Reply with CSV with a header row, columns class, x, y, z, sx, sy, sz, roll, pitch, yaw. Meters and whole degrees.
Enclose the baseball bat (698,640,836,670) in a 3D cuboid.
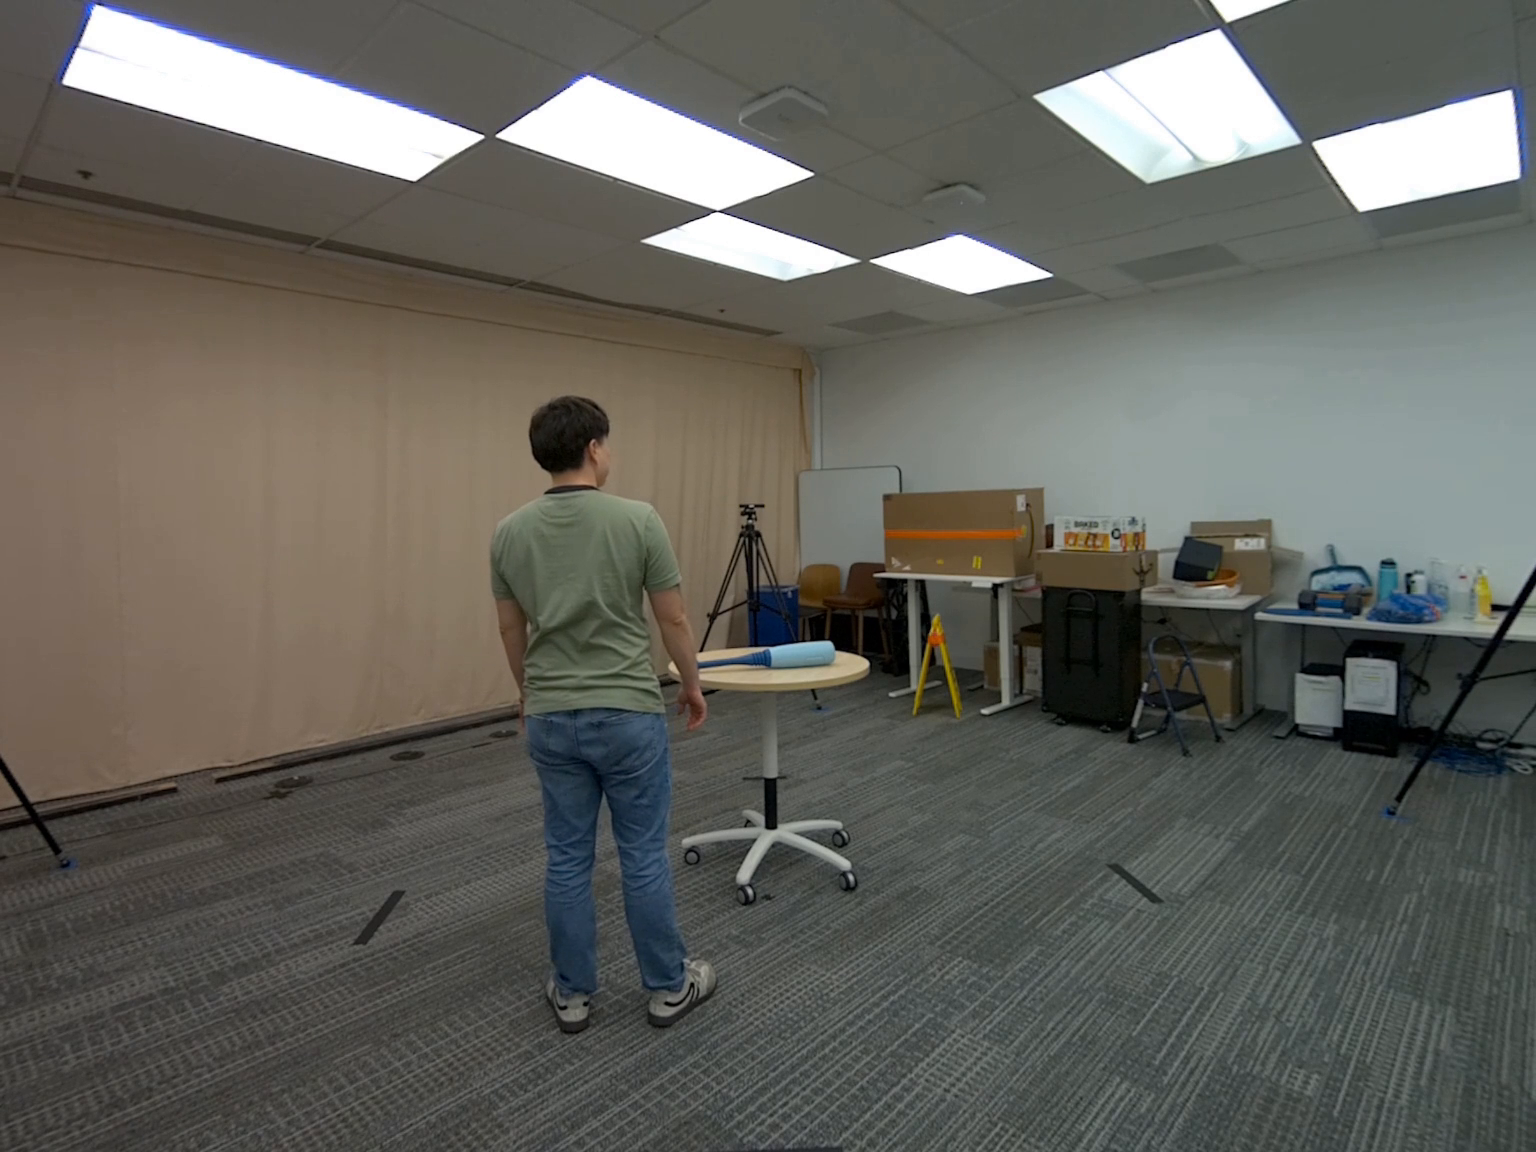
class,x,y,z,sx,sy,sz,roll,pitch,yaw
baseball bat,-0.013,0.306,3.110,0.537,0.089,0.090,-4,4,-10
